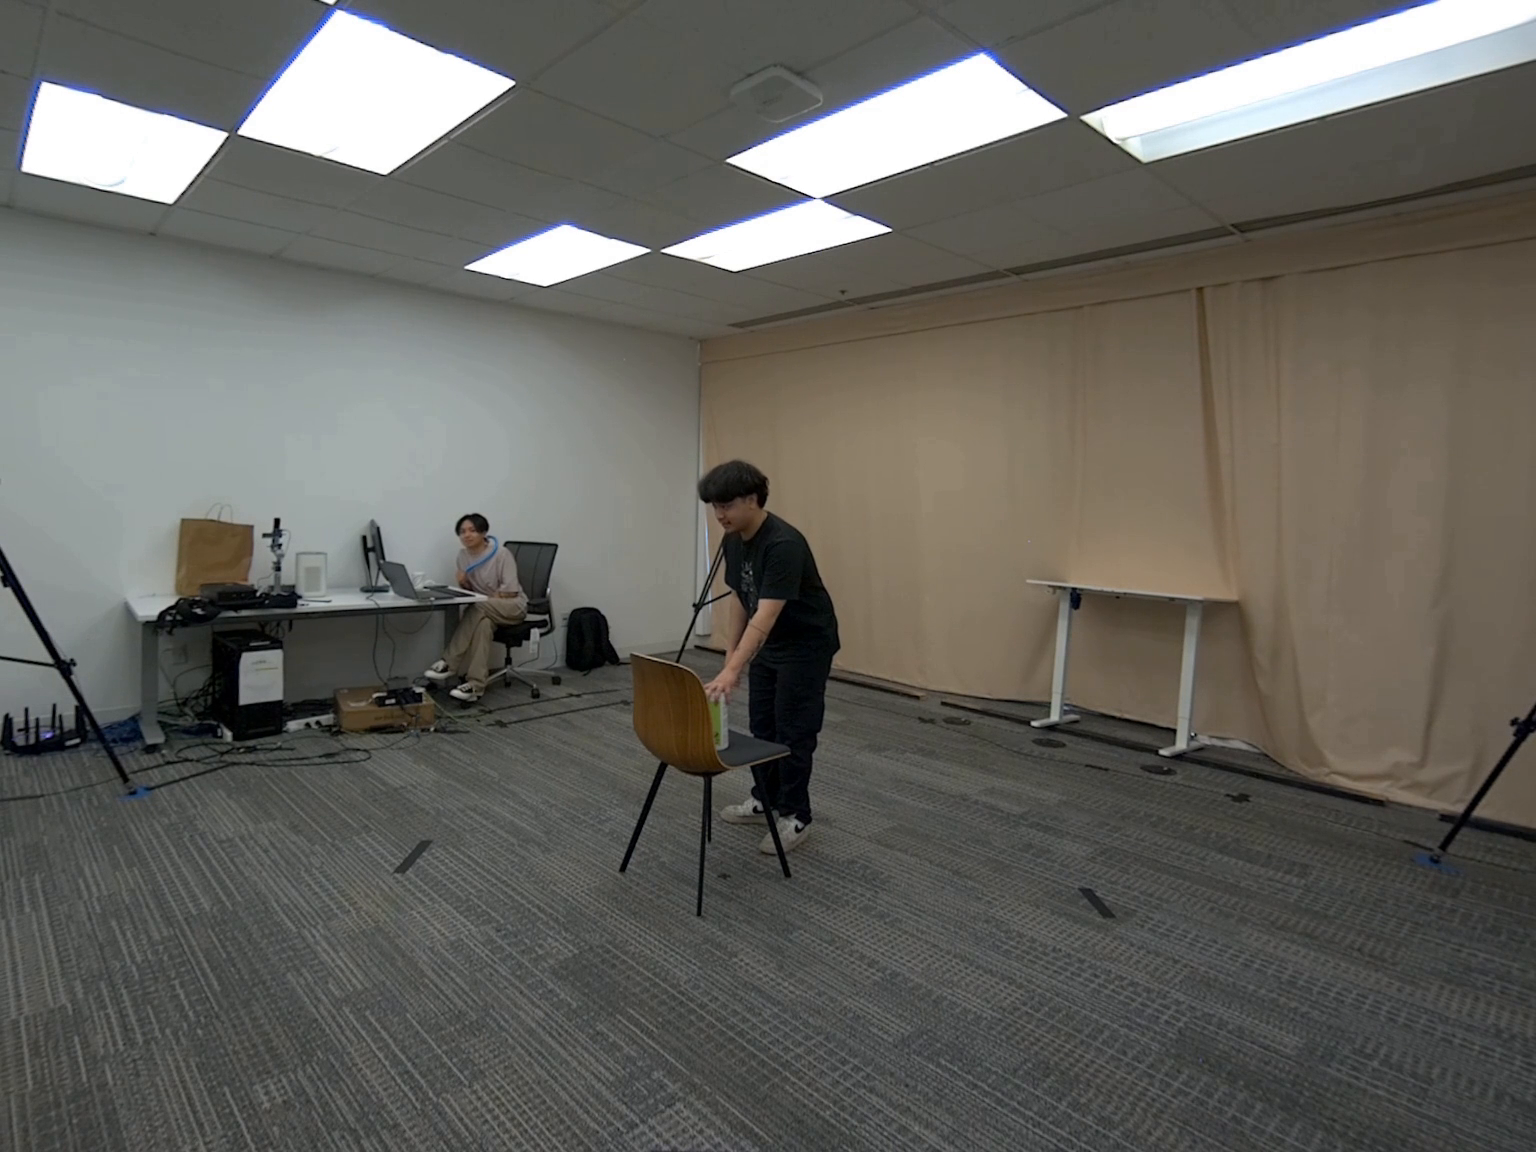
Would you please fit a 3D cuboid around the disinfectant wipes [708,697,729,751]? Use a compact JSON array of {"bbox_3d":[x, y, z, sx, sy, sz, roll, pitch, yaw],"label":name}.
[{"bbox_3d":[-0.201,0.532,3.103,0.118,0.217,0.118,0,4,-1],"label":"disinfectant wipes"}]
